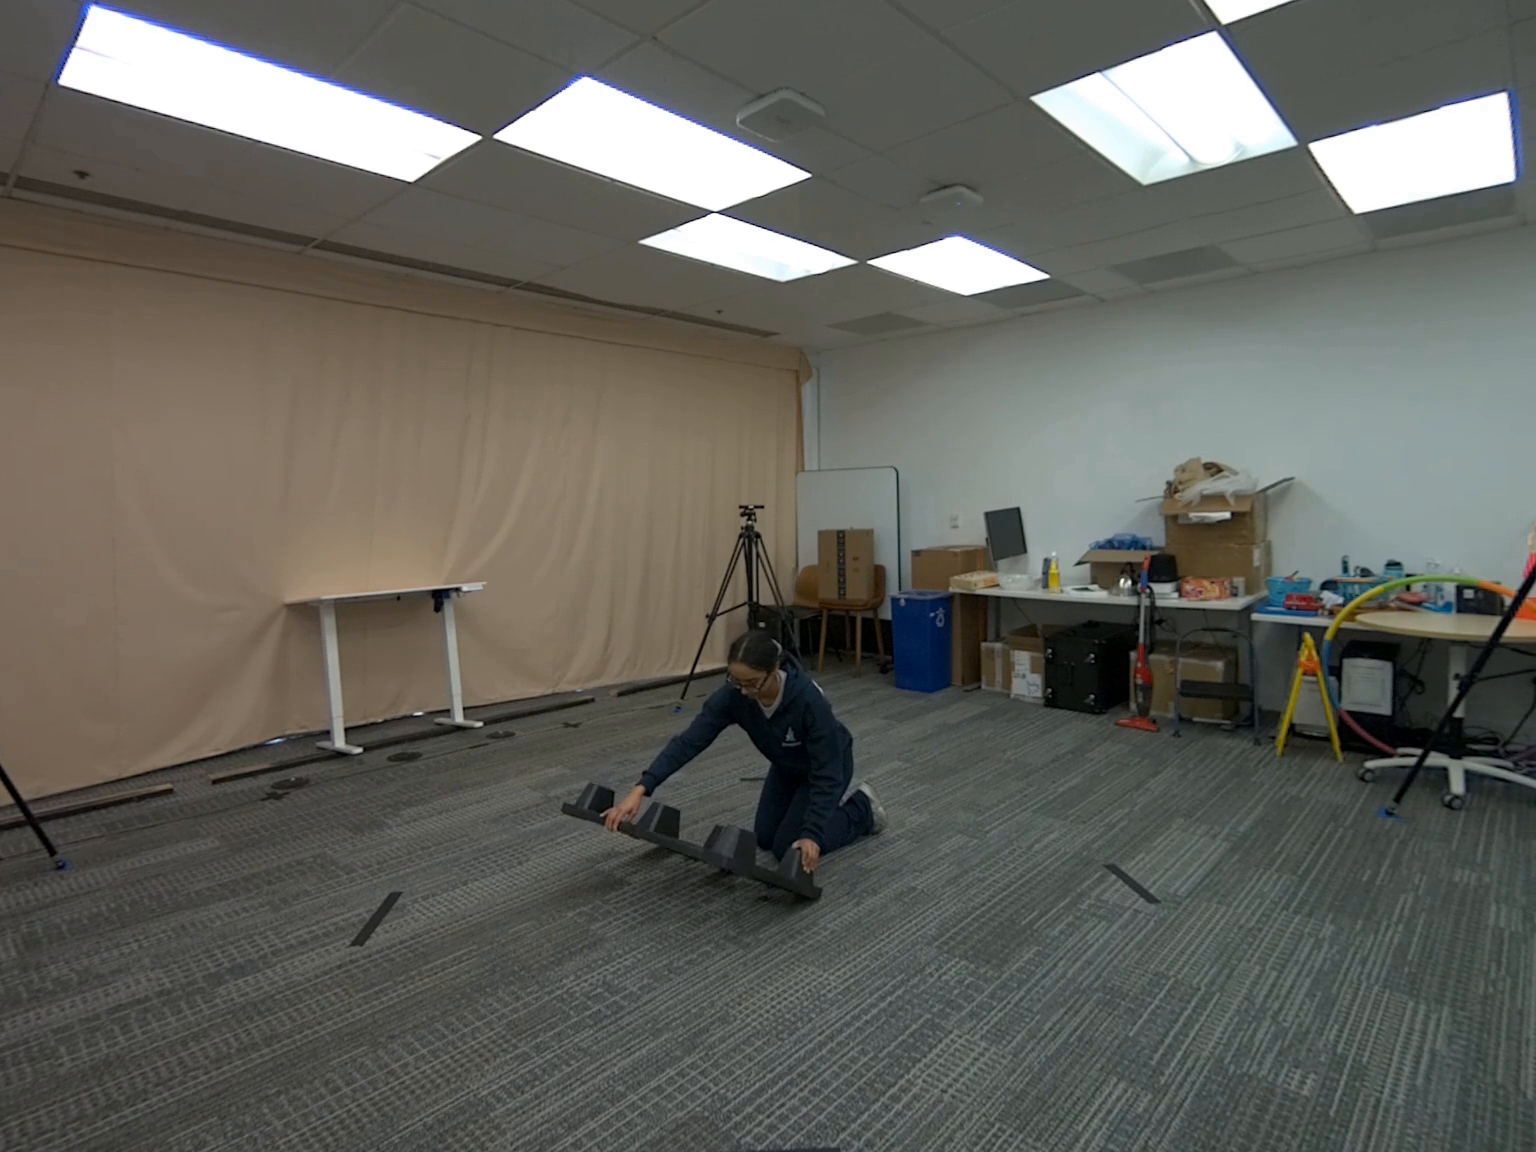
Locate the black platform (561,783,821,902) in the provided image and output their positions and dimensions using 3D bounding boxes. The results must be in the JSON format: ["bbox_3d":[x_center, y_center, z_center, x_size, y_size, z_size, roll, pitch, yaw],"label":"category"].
[{"bbox_3d":[-0.270,0.961,3.031,0.832,0.144,0.583,3,-23,40],"label":"black platform"}]
